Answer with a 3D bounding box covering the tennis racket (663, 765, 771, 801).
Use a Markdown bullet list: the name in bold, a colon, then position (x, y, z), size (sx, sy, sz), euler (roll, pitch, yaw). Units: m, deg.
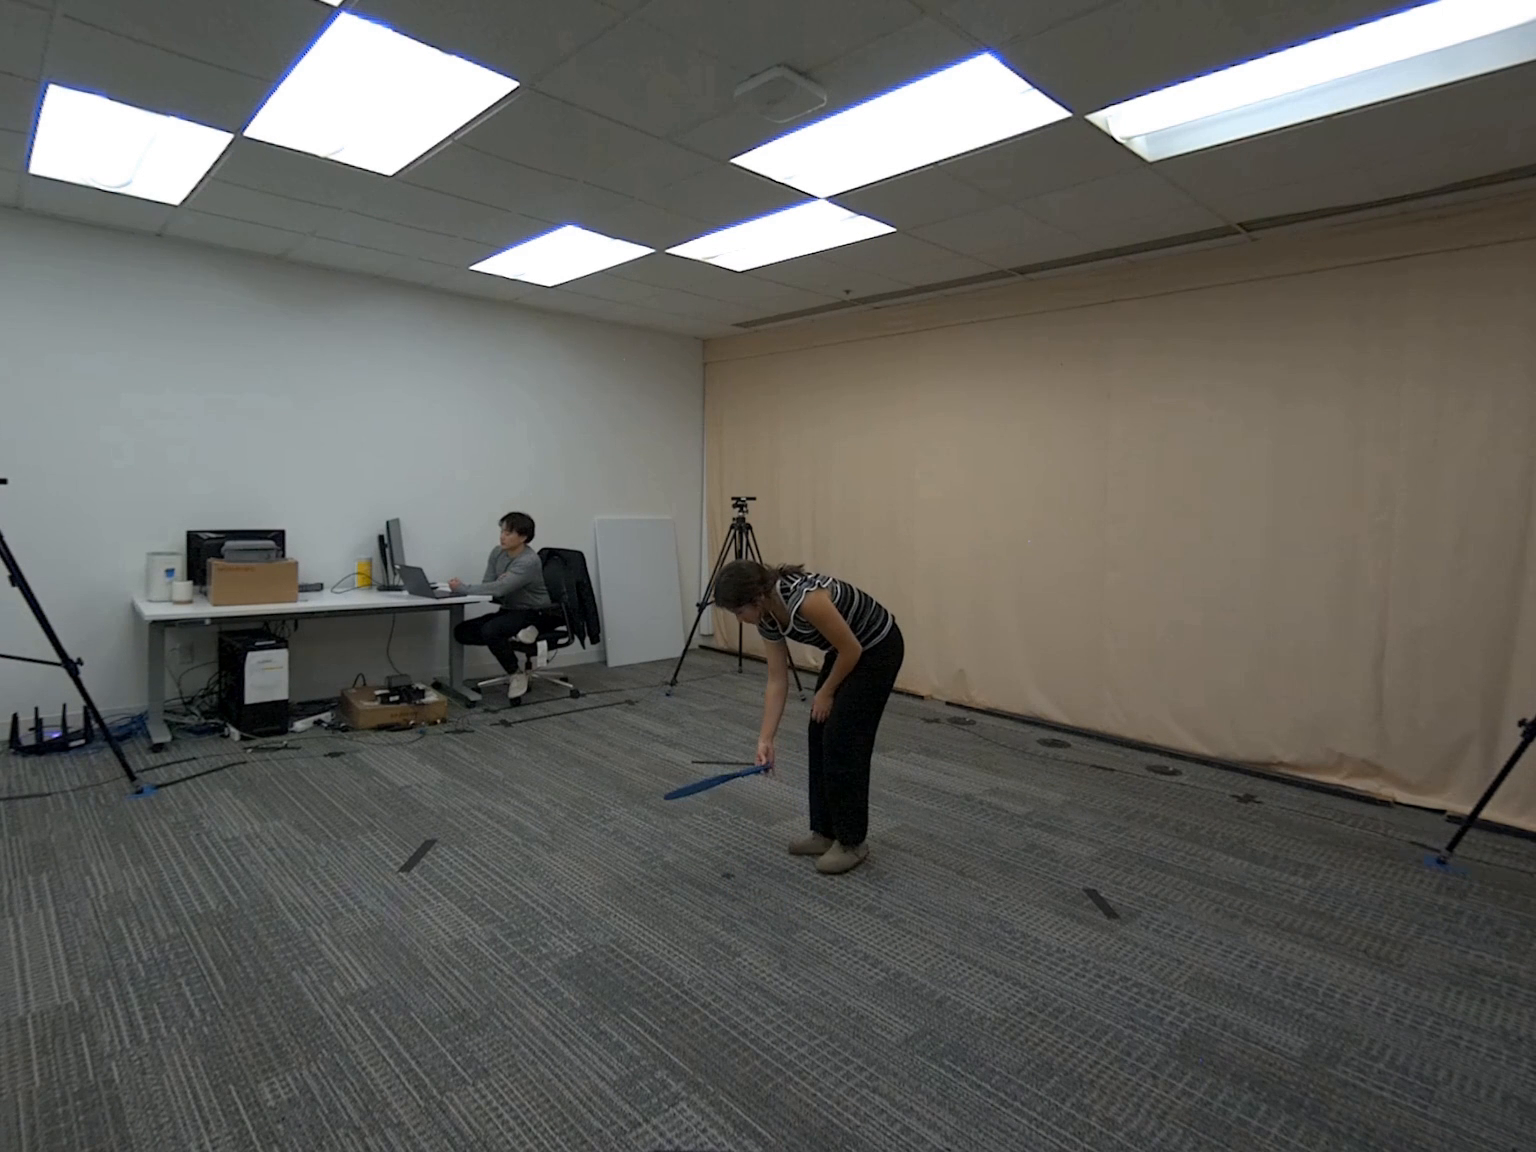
- **tennis racket**: position (-0.195, 0.780, 3.154), size (0.426, 0.032, 0.213), euler (-12, -22, -27)
